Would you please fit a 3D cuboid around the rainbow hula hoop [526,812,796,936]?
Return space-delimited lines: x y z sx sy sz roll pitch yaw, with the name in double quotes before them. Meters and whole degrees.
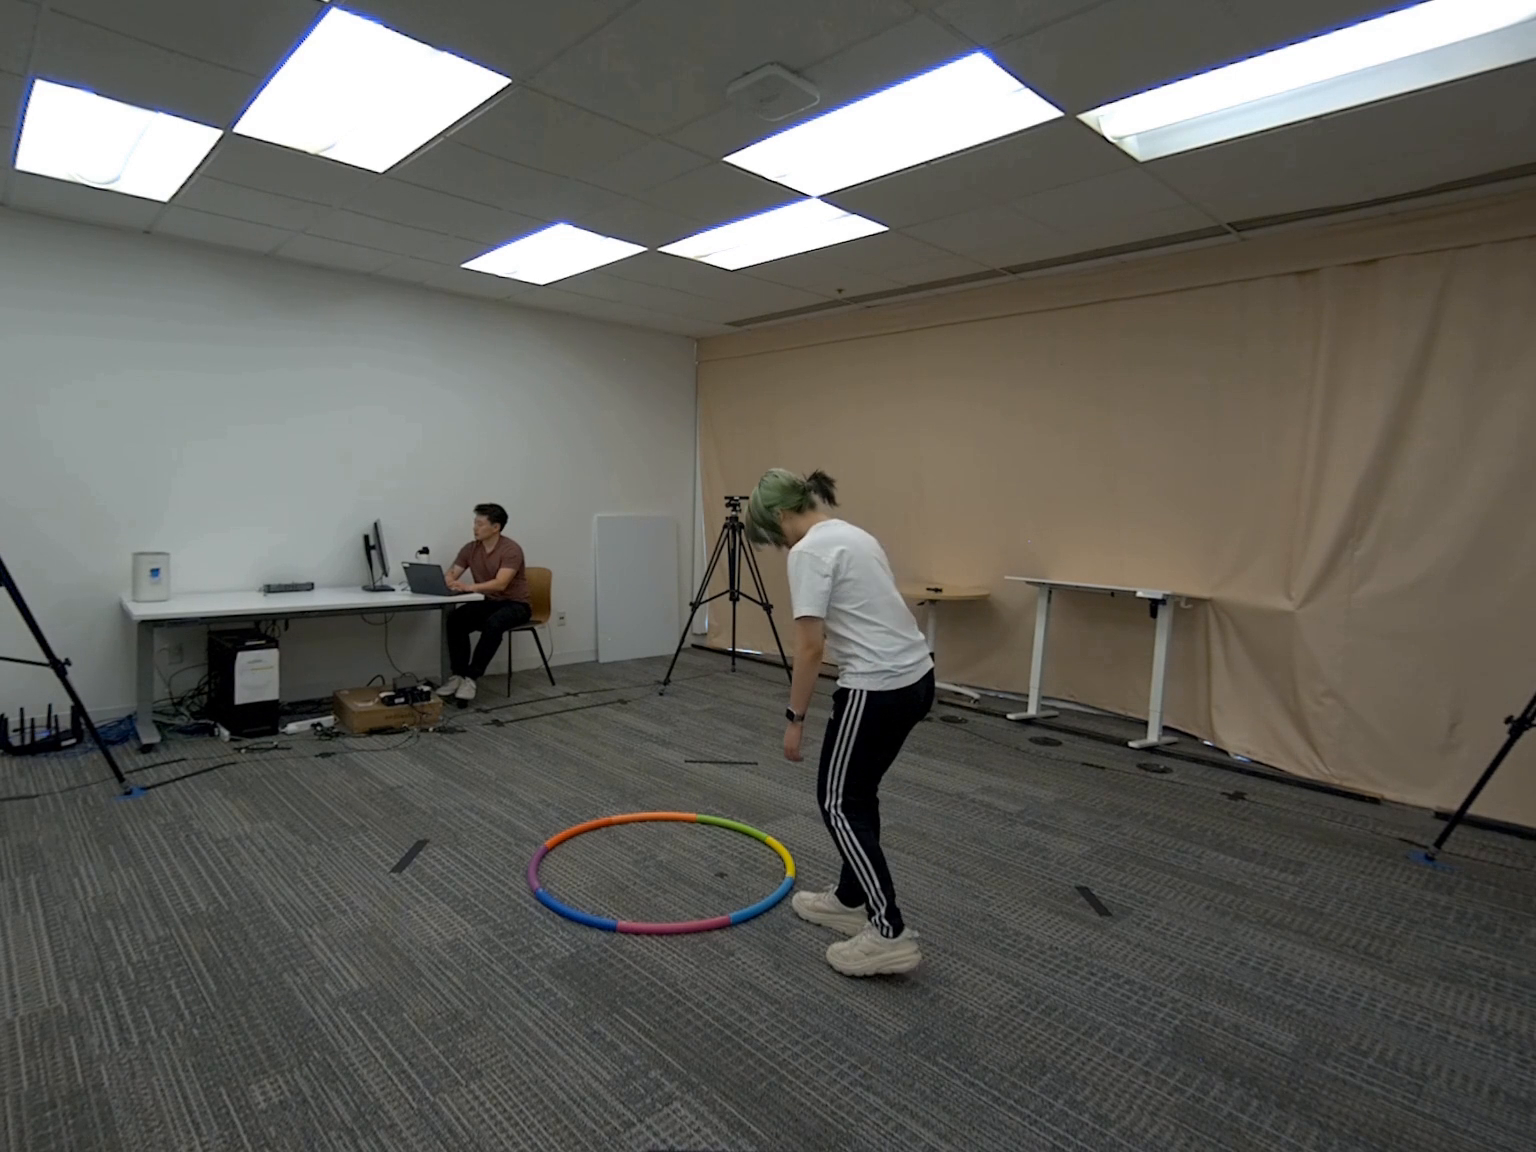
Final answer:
"rainbow hula hoop" -0.395 1.064 3.147 0.978 0.035 0.982 1 5 -1
